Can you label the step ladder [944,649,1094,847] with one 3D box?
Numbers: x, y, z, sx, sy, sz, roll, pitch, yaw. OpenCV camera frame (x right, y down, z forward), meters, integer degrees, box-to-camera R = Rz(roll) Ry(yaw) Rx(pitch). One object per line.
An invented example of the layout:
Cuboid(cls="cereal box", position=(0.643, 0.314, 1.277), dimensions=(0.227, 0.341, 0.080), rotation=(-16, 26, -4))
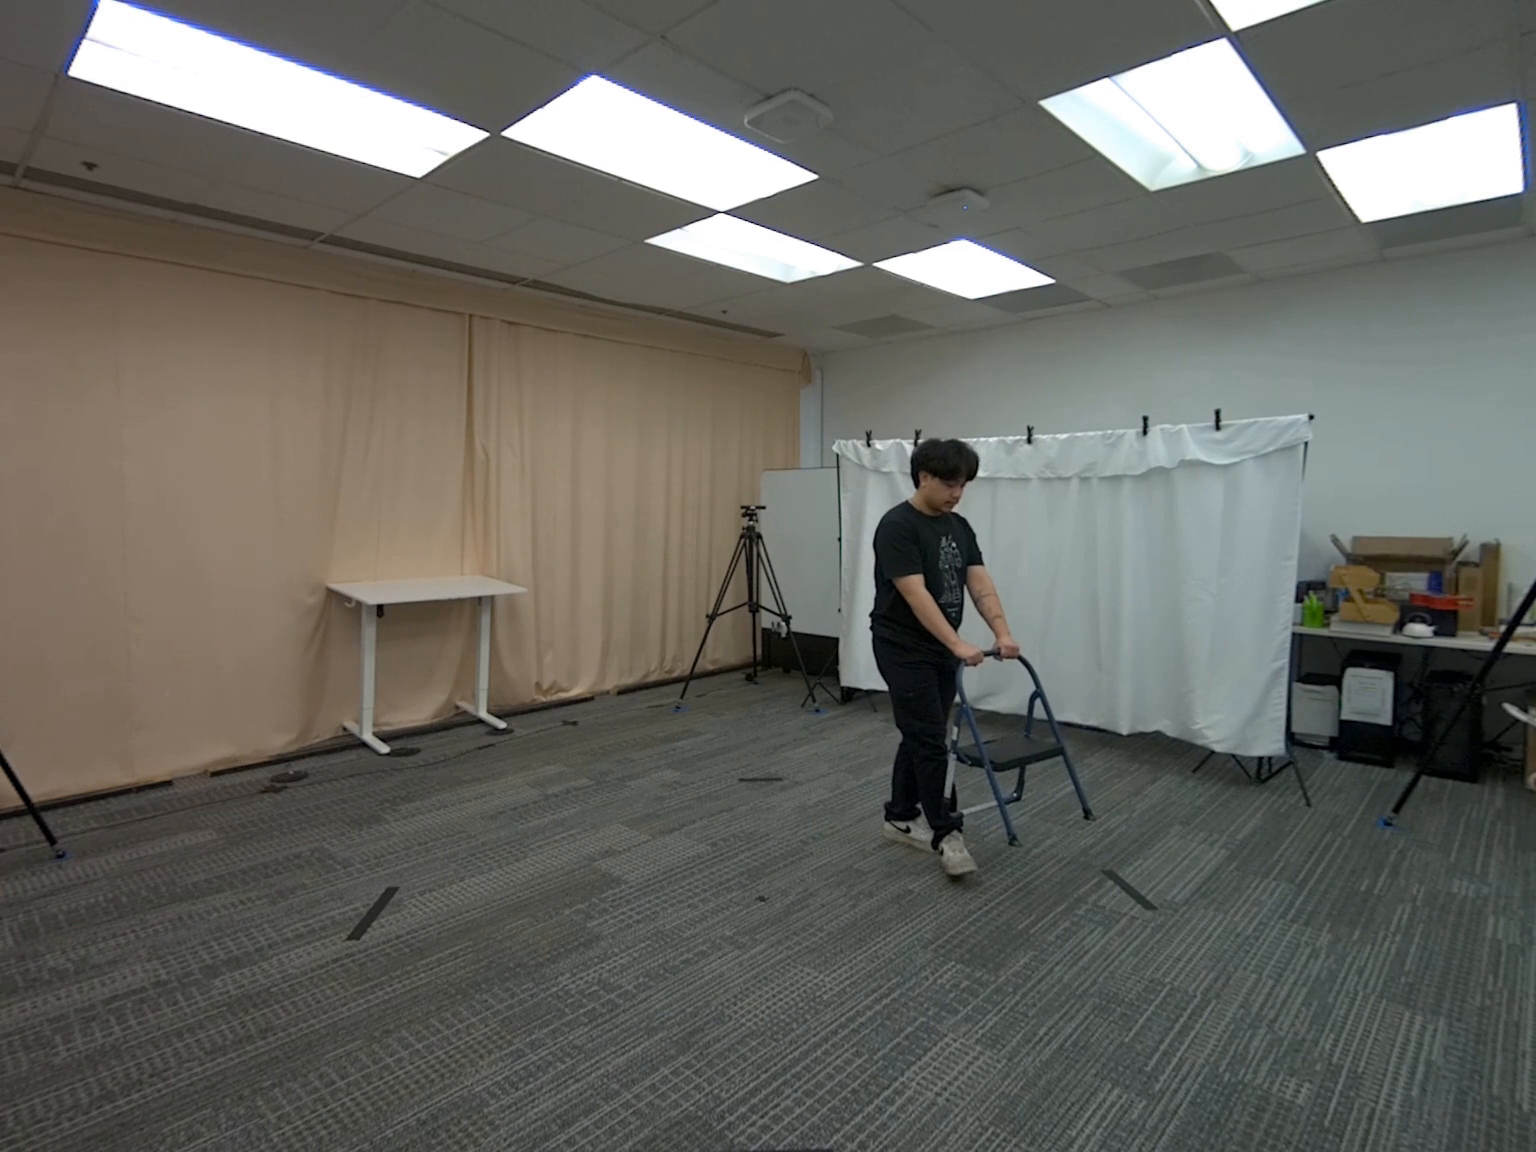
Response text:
Cuboid(cls="step ladder", position=(0.881, 0.582, 3.023), dimensions=(0.419, 0.606, 0.359), rotation=(-4, 0, -33))
